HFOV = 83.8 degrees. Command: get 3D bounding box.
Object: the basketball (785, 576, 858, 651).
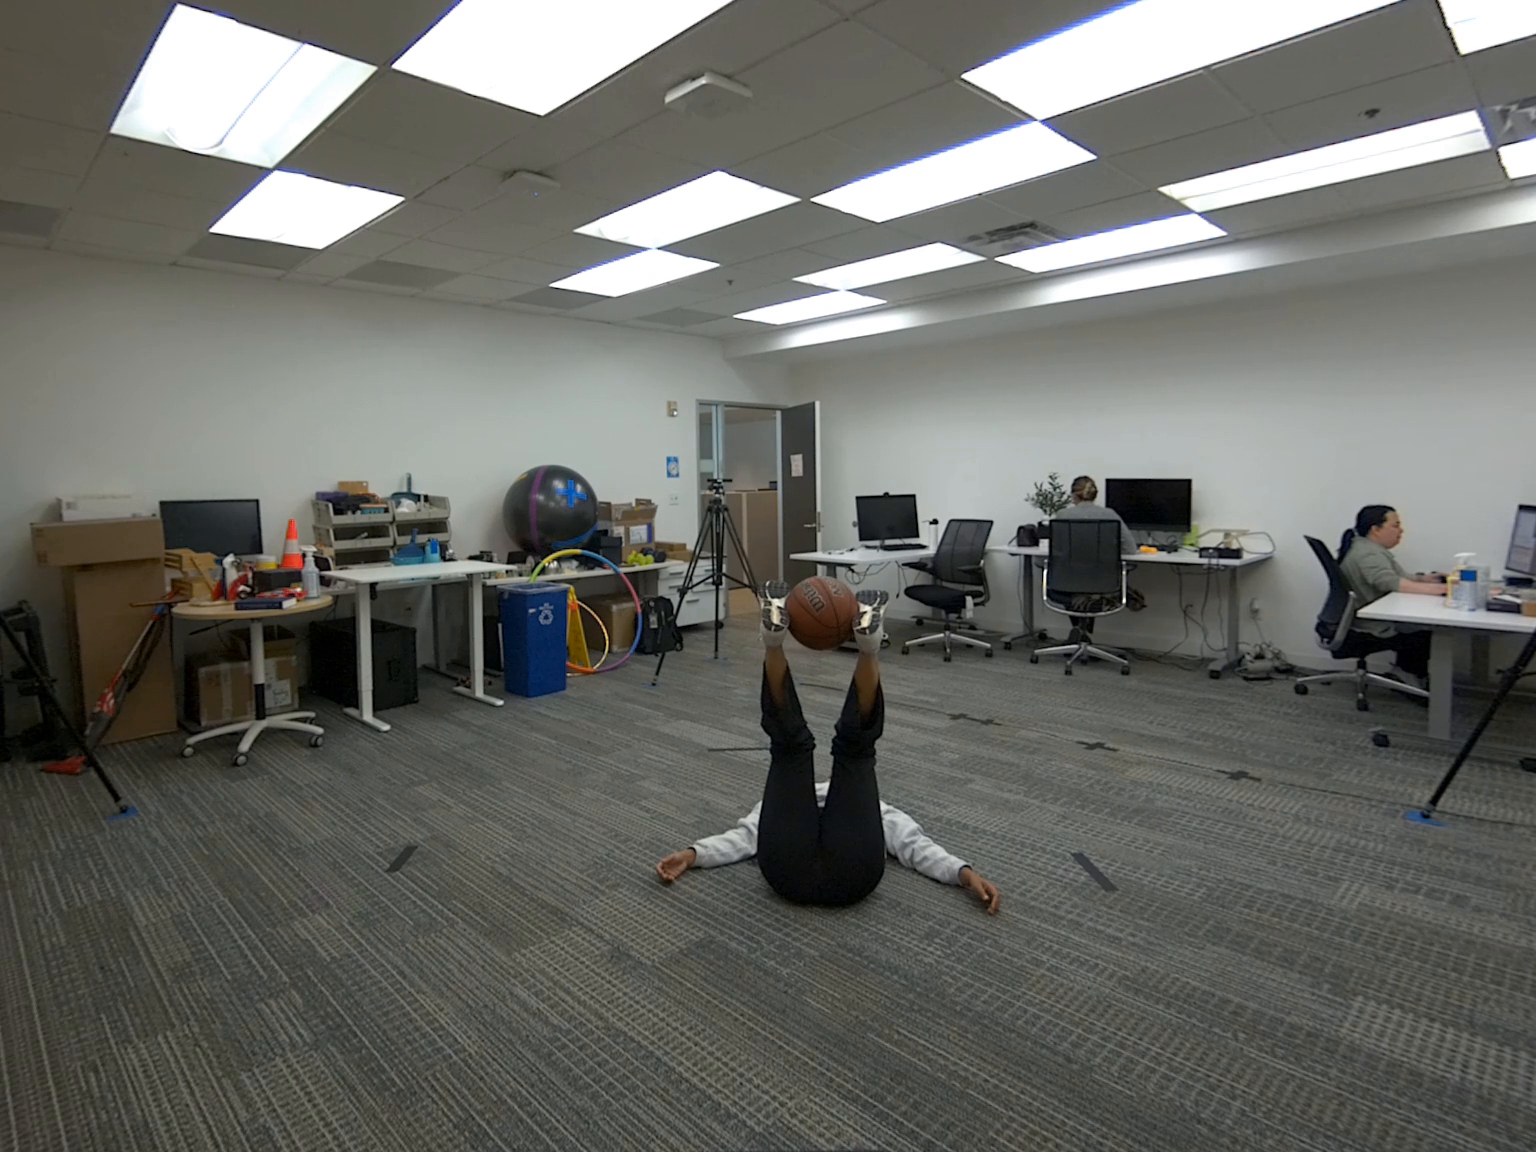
[{"bbox_3d":[0.176,0.121,2.738,0.236,0.235,0.236,-4,2,-2],"label":"basketball"}]
